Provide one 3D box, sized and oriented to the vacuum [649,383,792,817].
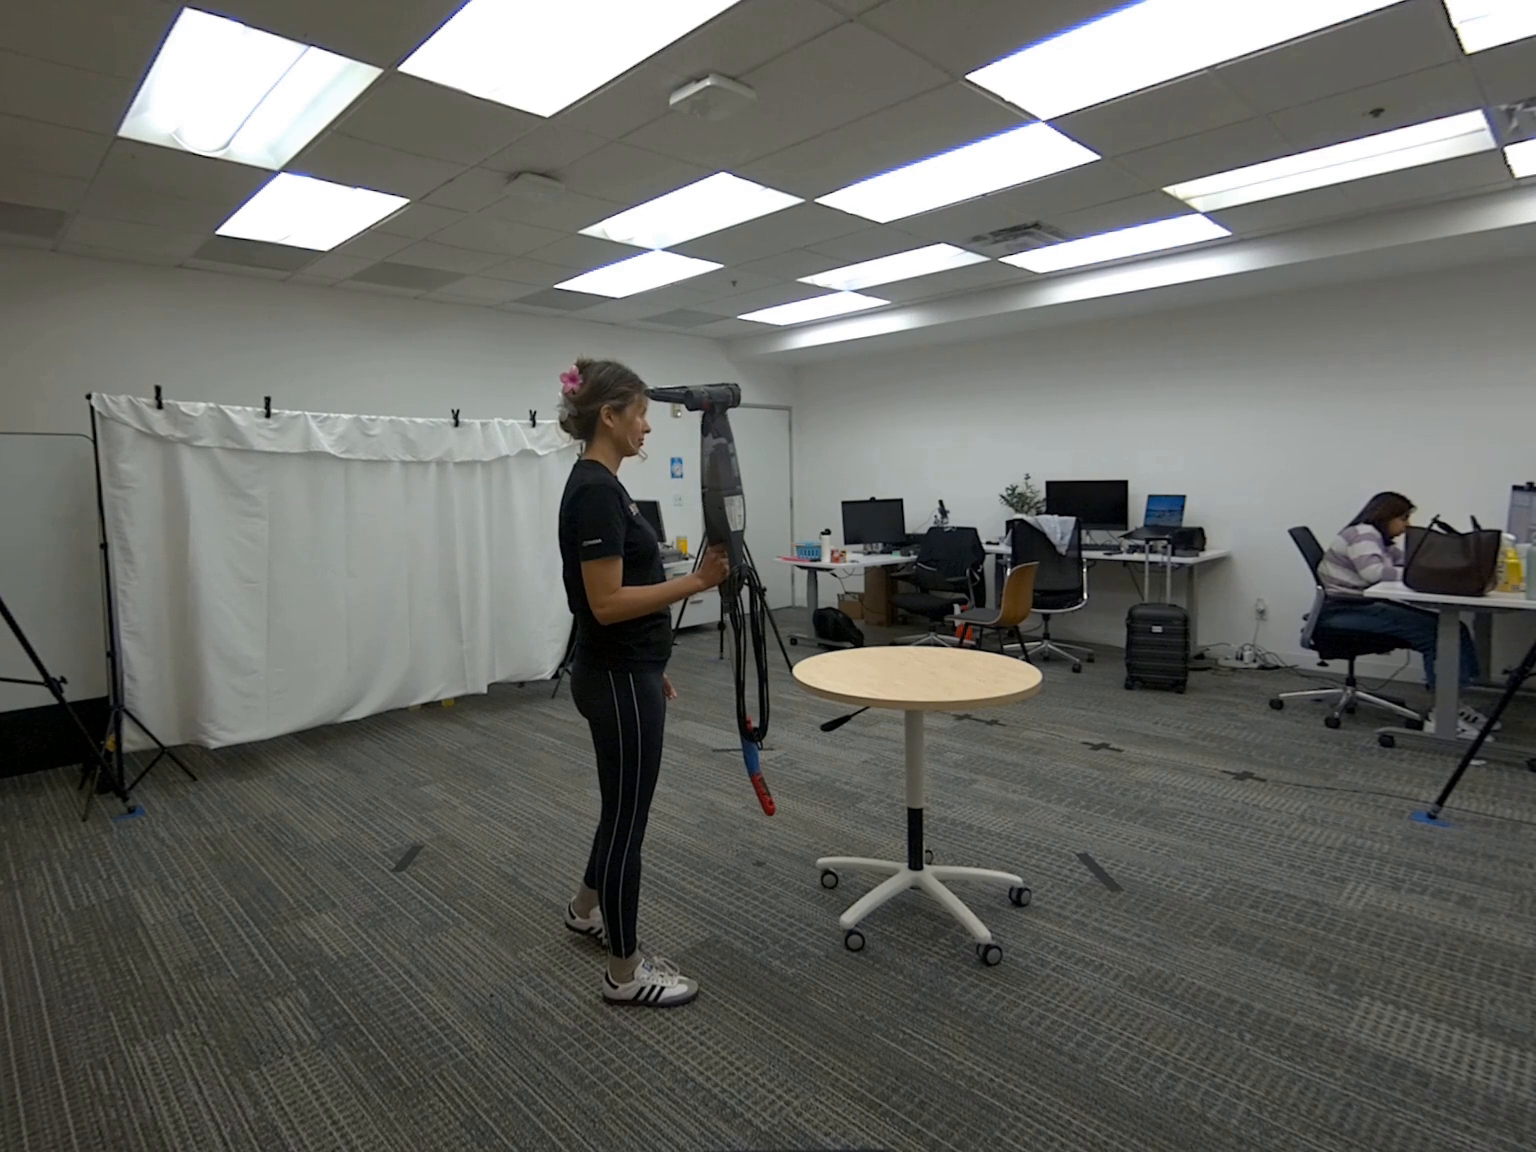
[{"bbox_3d":[-0.075,0.059,2.076,0.247,1.049,0.147,-10,0,-28],"label":"vacuum"}]
